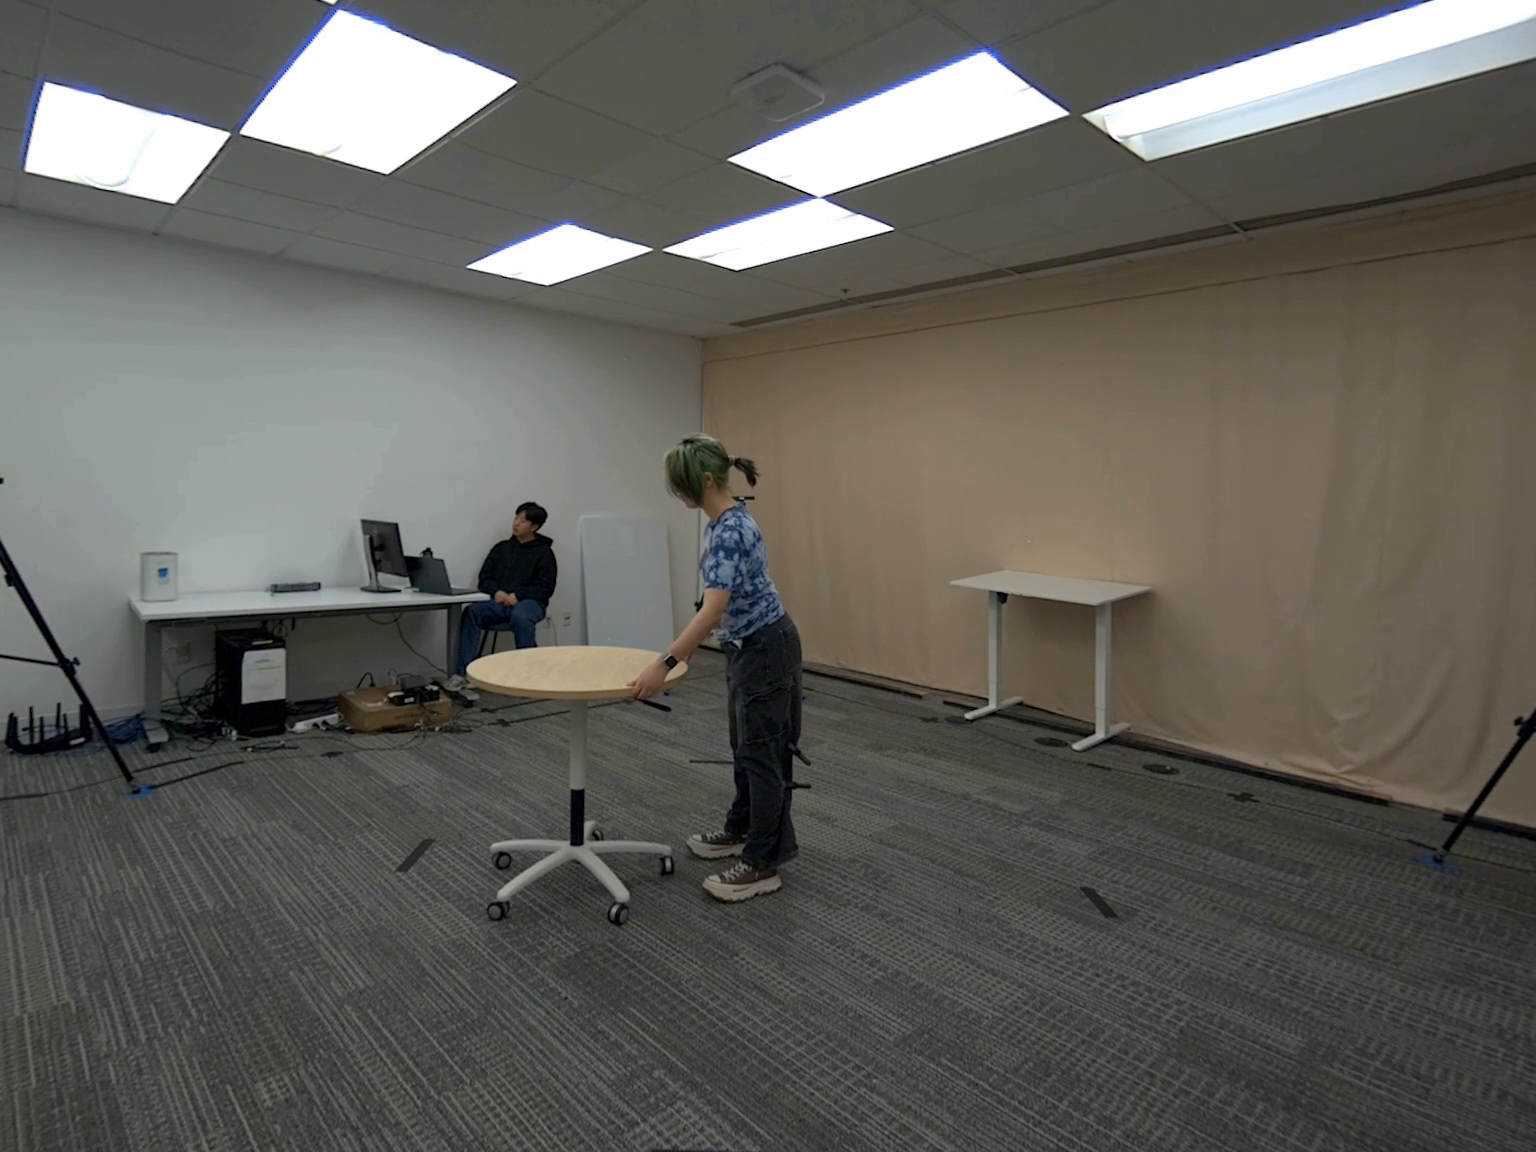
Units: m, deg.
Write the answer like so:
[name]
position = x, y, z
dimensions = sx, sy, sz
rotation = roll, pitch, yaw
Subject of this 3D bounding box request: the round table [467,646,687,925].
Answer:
[round table]
position = -0.684, 0.713, 2.999
dimensions = 0.763, 0.792, 0.767
rotation = 1, 4, -1
